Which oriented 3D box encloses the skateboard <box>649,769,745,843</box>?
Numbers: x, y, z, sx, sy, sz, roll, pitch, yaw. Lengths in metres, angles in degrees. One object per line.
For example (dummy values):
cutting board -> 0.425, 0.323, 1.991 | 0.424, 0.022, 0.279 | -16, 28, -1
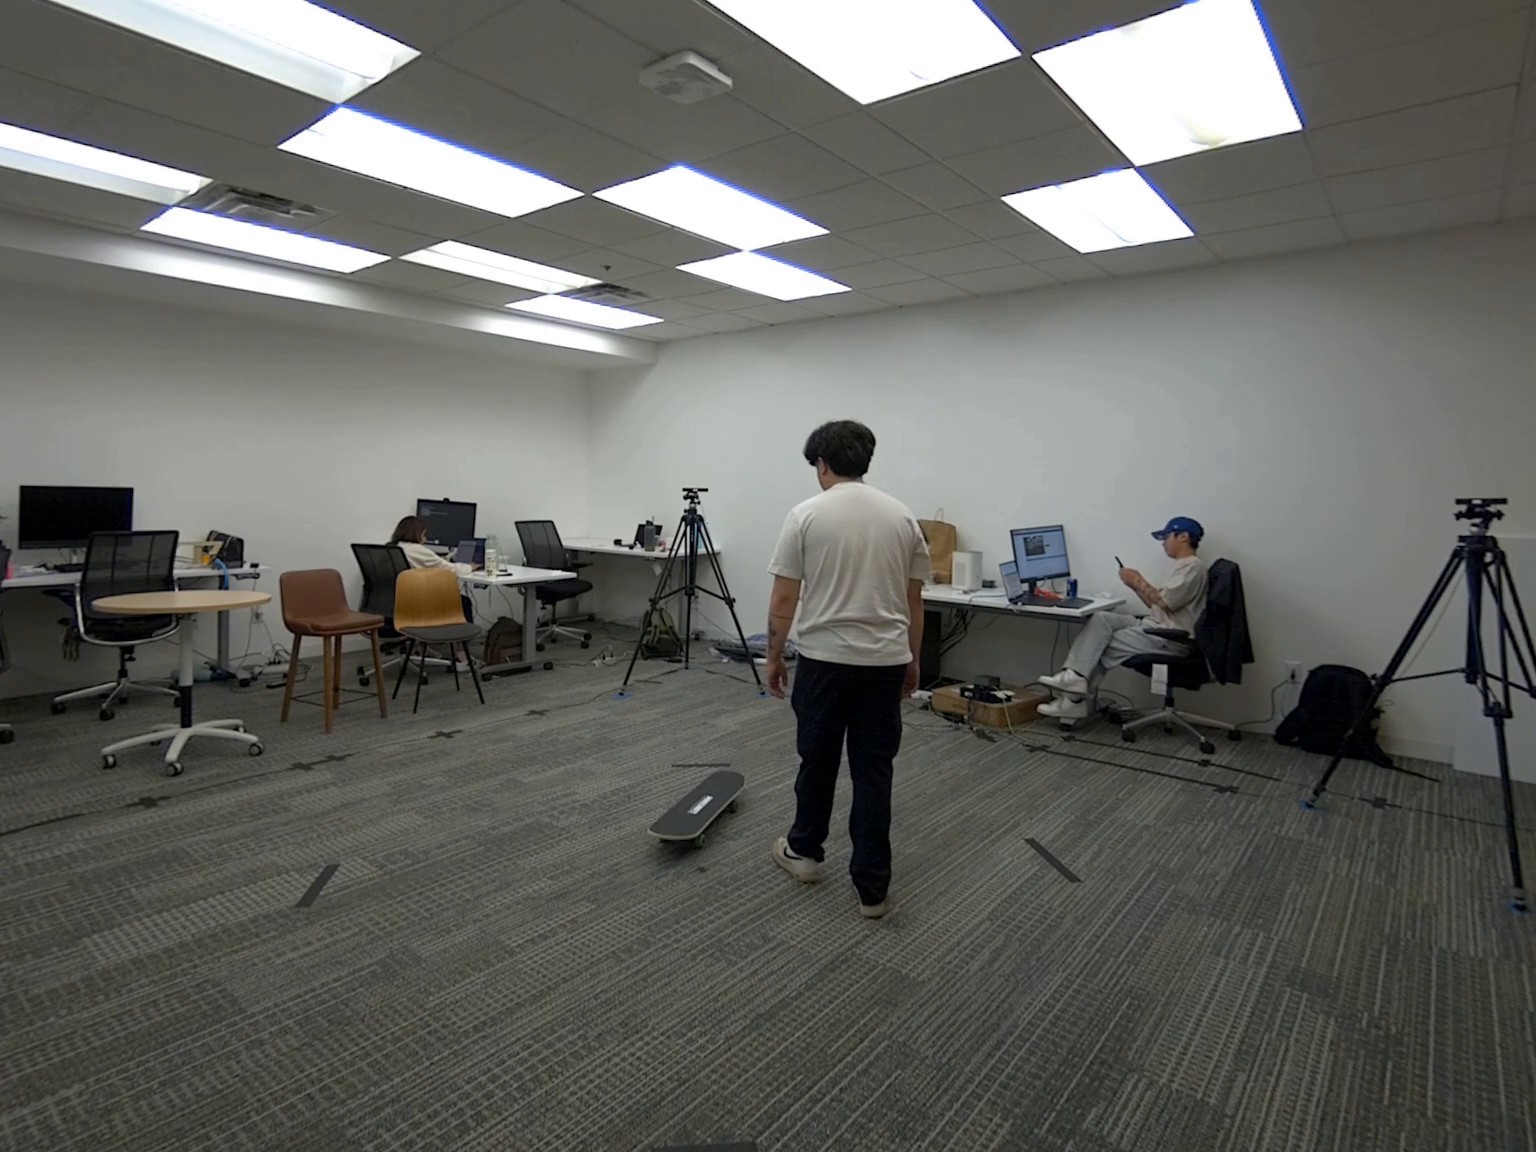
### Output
skateboard -> -0.288, 0.969, 3.508 | 0.197, 0.110, 0.773 | 2, 6, 17
